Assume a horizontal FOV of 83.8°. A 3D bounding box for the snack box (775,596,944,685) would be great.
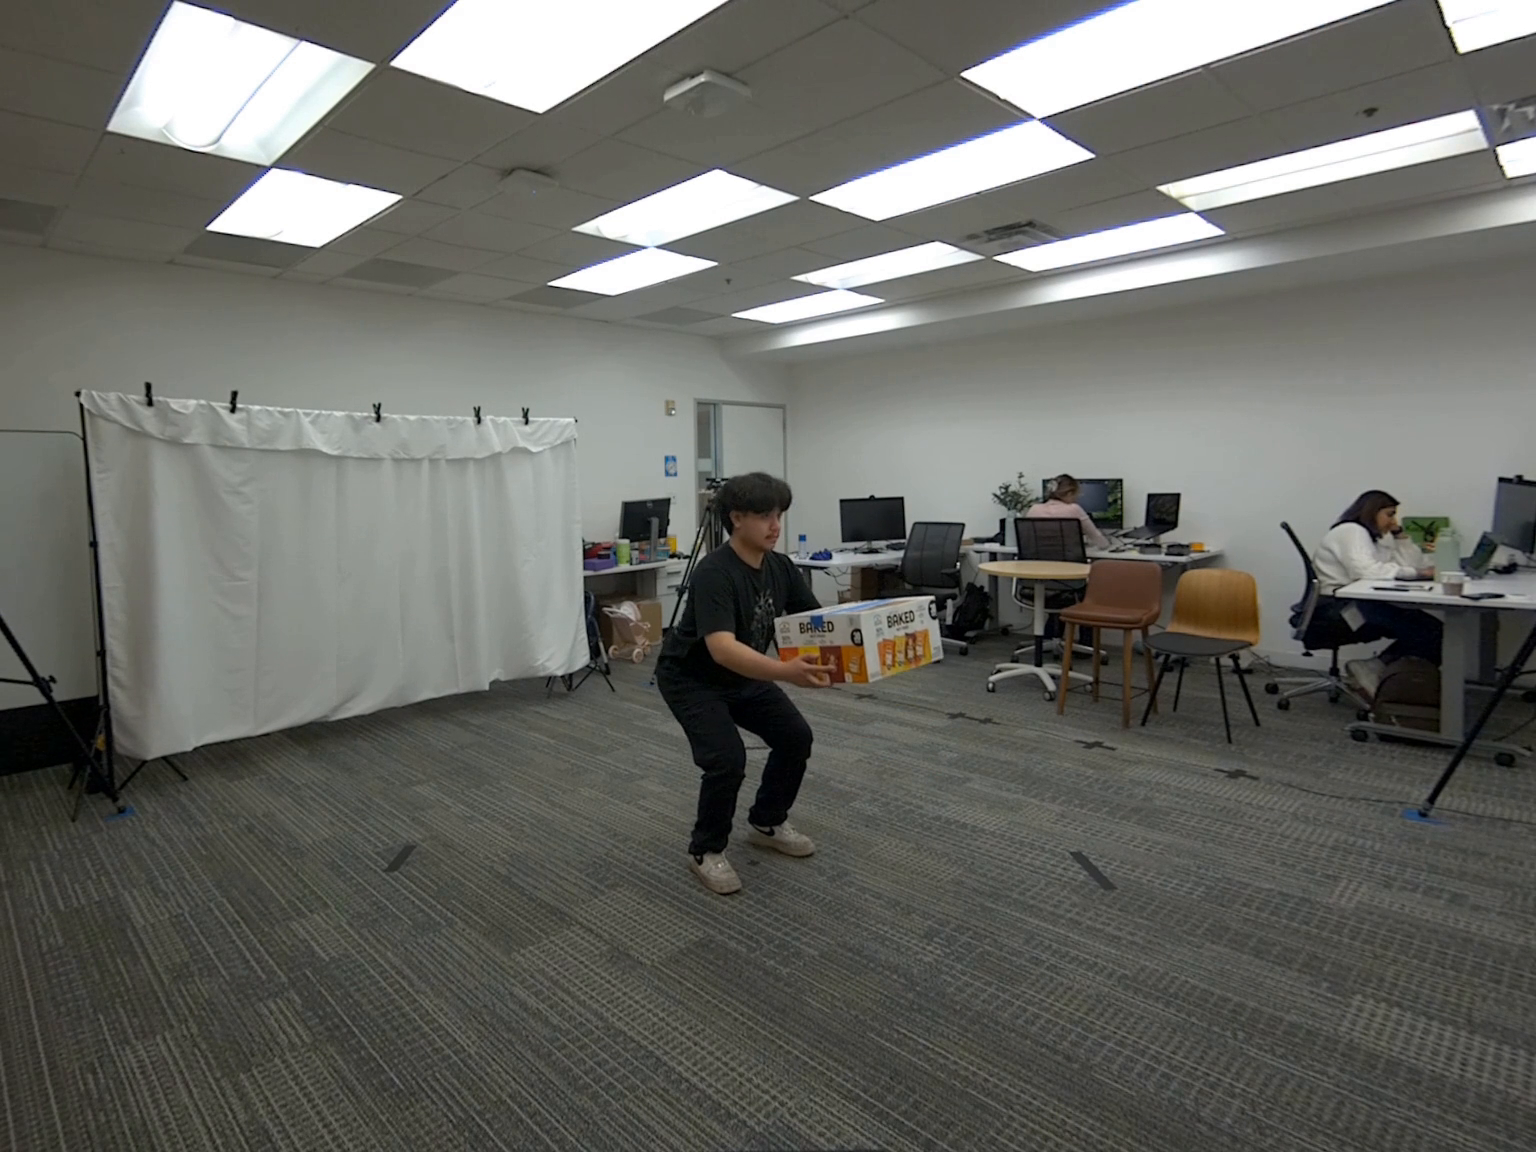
[{"bbox_3d":[0.284,0.199,2.707,0.349,0.206,0.395,-7,1,44],"label":"snack box"}]
